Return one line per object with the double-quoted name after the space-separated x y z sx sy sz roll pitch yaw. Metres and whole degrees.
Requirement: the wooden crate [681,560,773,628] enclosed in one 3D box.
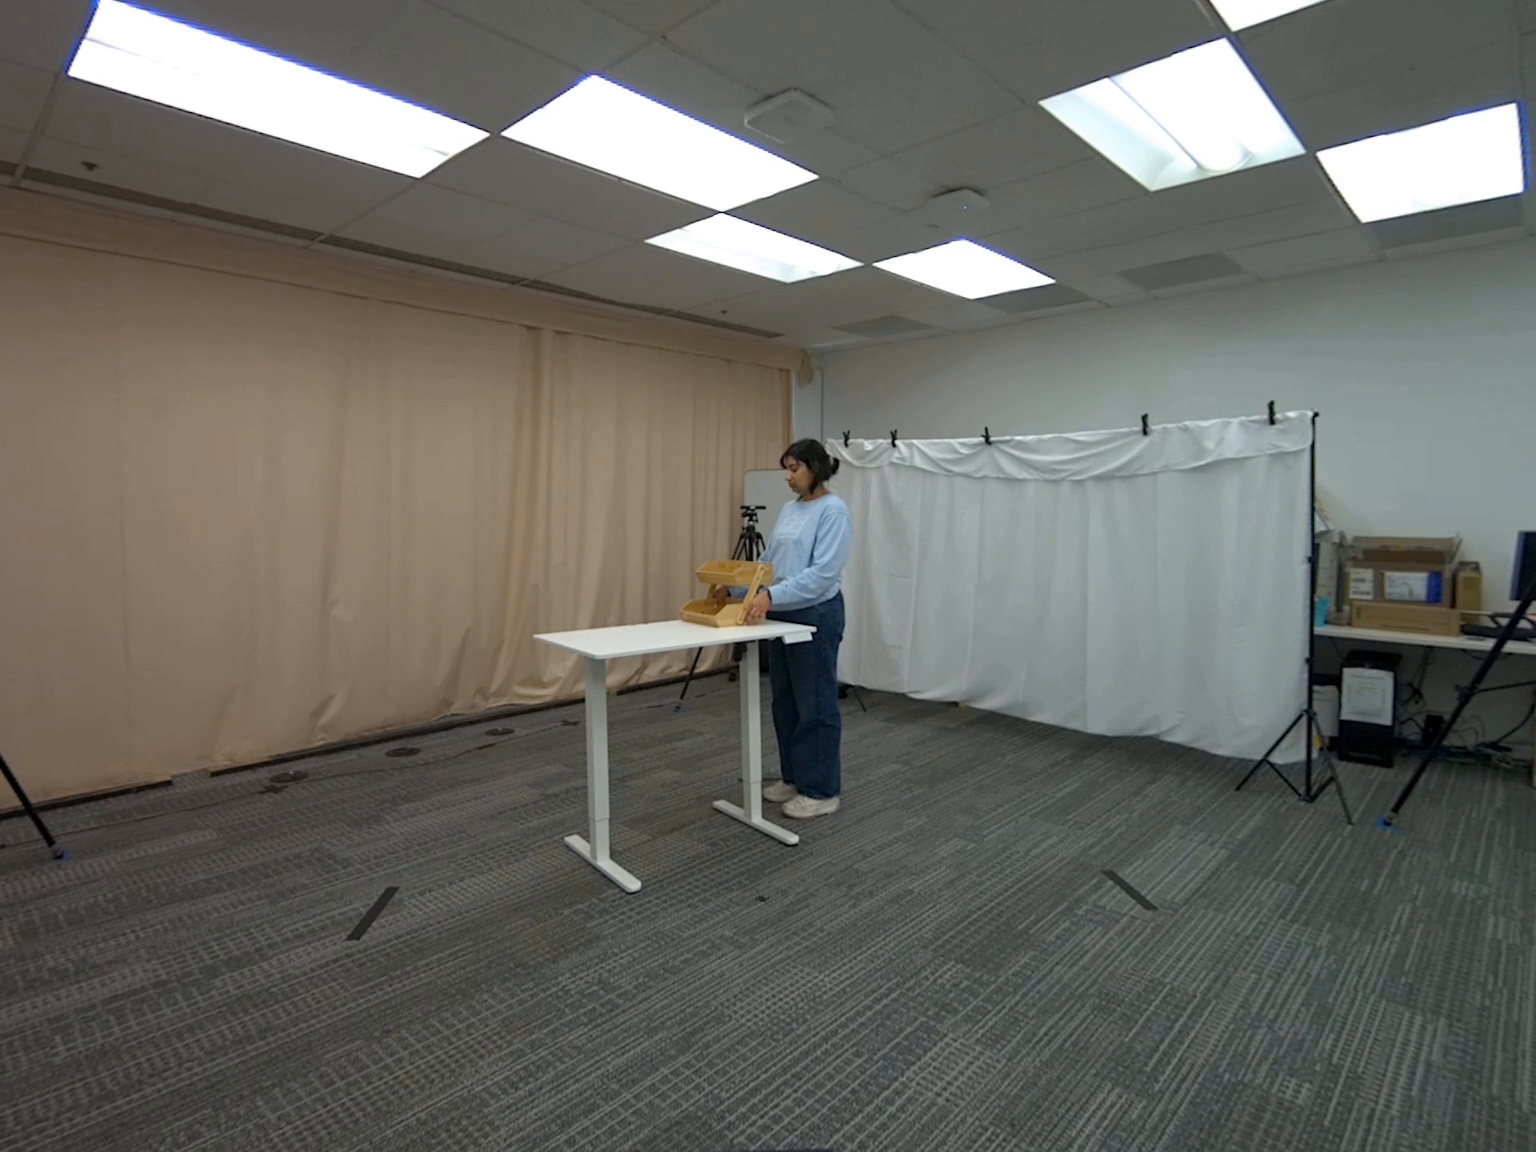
-0.188 0.070 3.712 0.293 0.273 0.334 -2 3 -34 "wooden crate"
